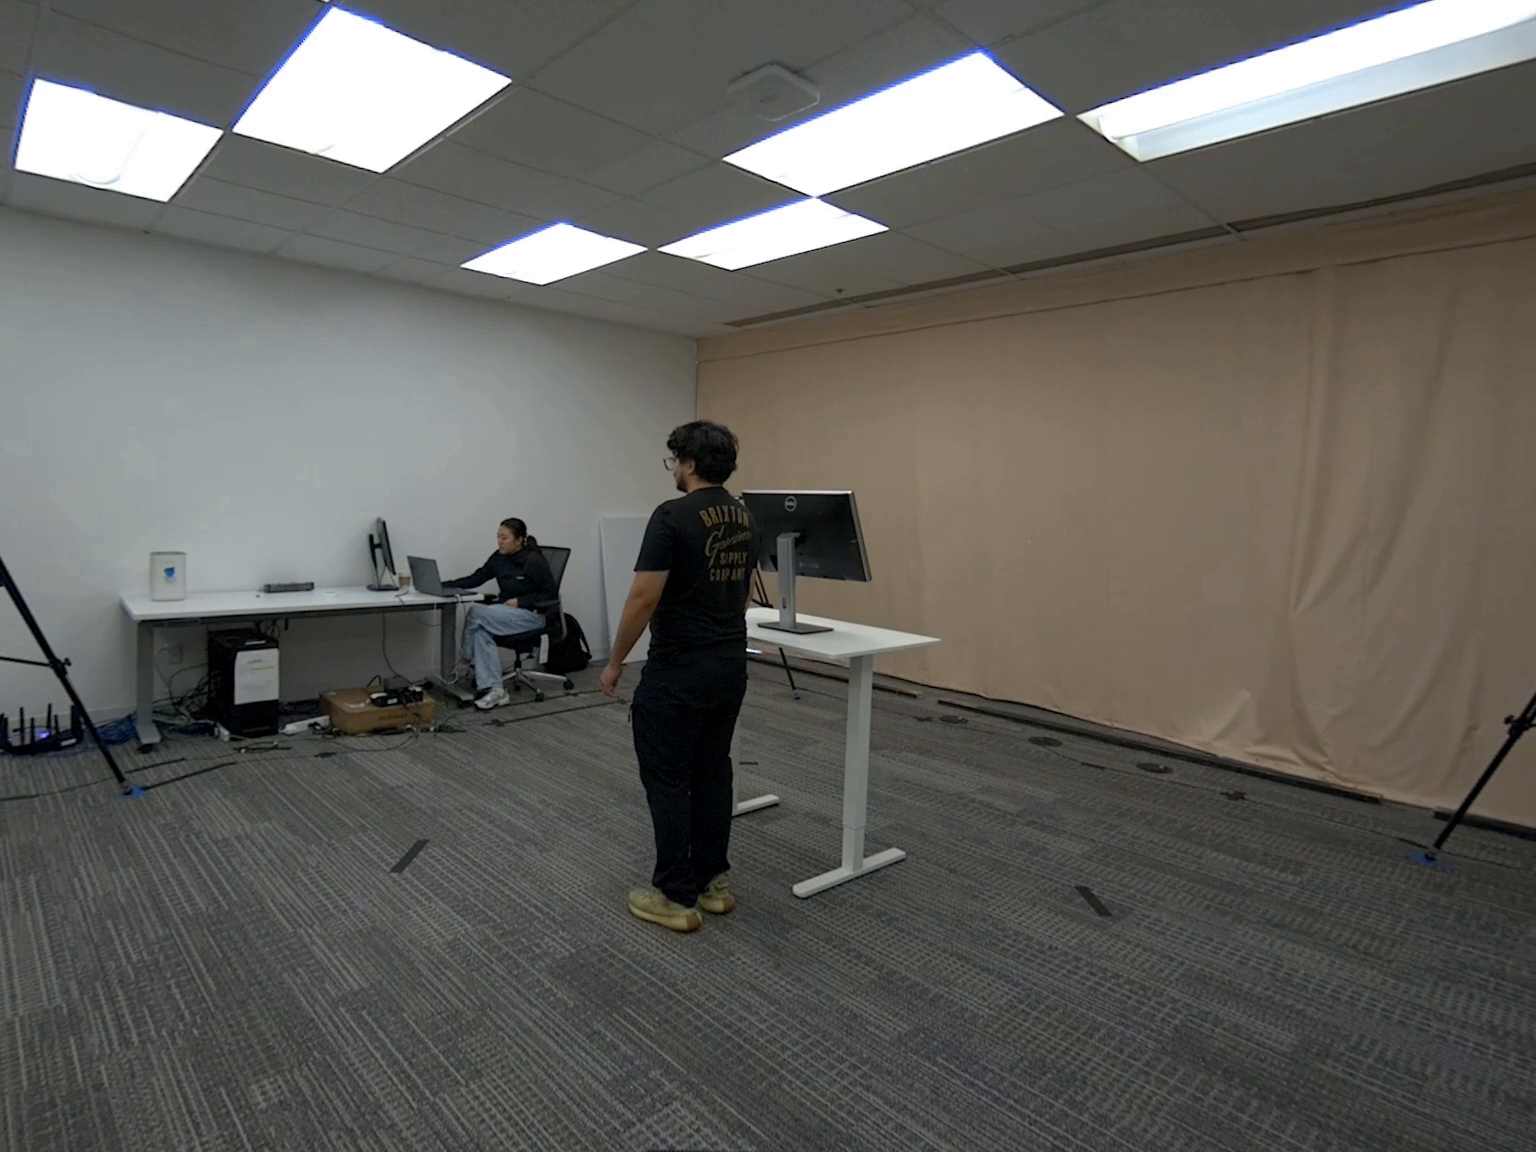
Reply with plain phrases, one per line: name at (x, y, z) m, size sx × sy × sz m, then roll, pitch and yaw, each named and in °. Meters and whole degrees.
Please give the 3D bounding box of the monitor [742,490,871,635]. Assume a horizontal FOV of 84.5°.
monitor at (0.091, -0.057, 3.283) m, size 0.580 × 0.549 × 0.206 m, roll 5°, pitch 15°, yaw 43°
